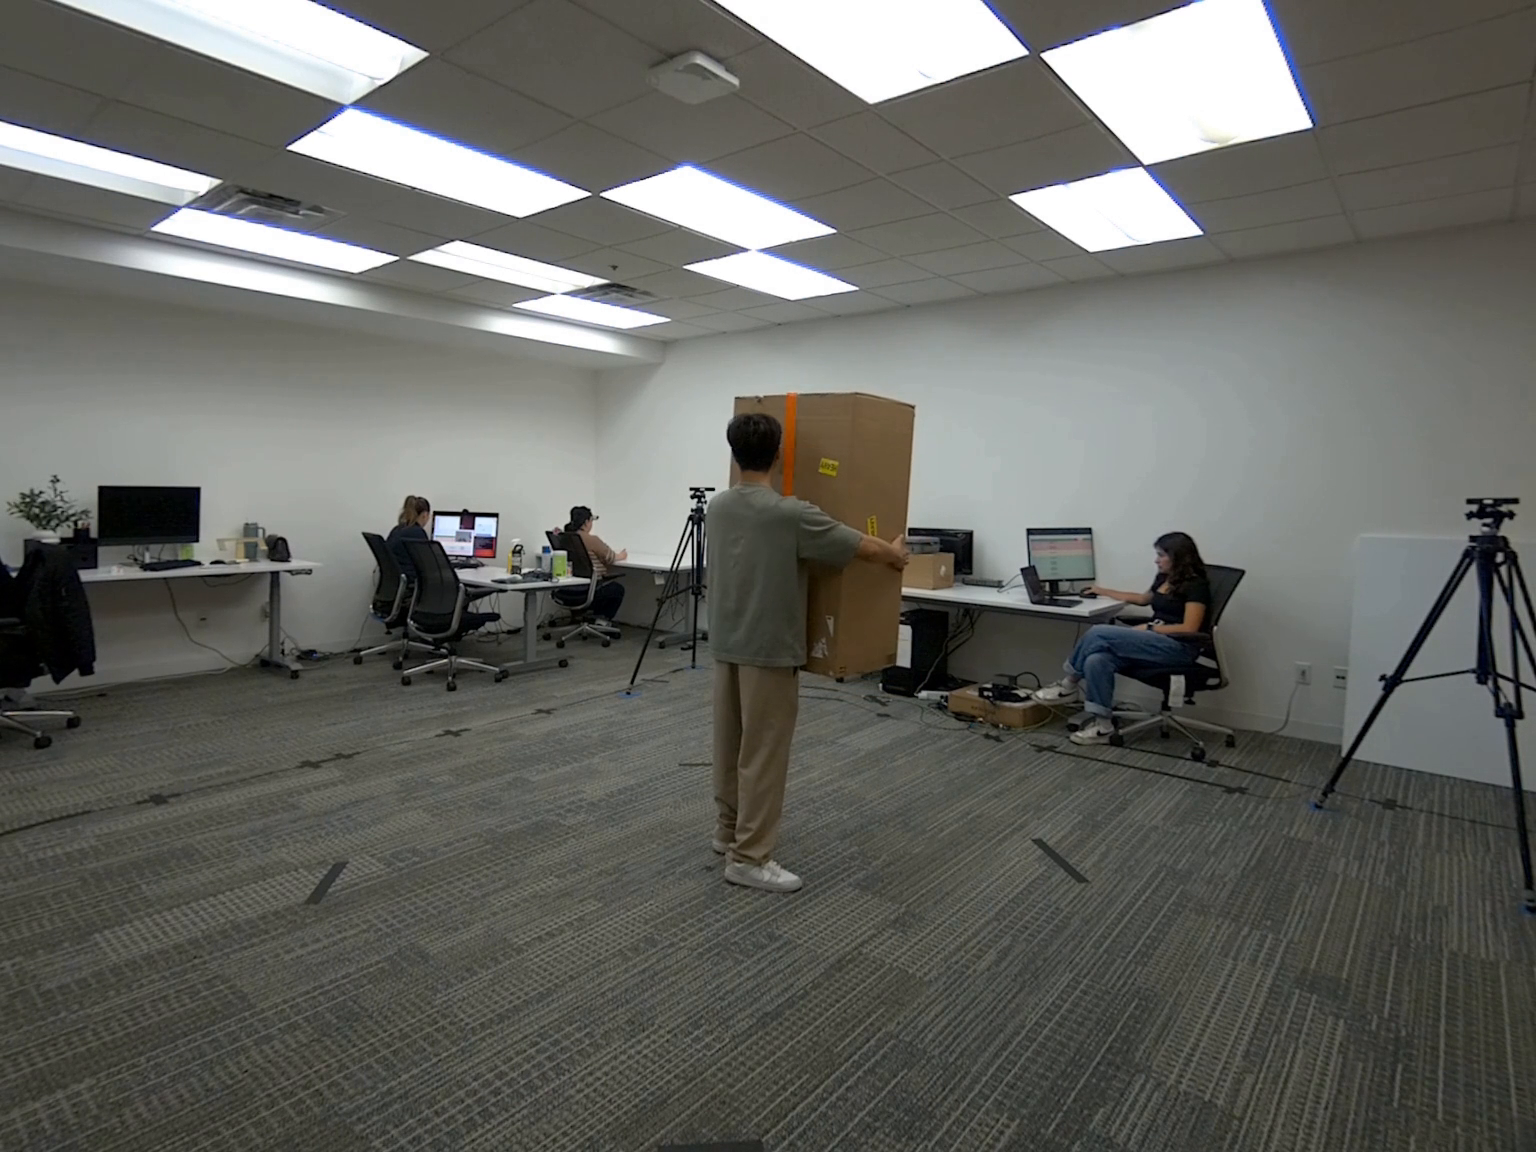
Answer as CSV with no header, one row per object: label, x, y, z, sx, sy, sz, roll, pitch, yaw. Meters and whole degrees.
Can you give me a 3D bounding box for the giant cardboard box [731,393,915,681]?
giant cardboard box,0.183,-0.185,3.349,0.598,1.023,0.413,7,5,41
